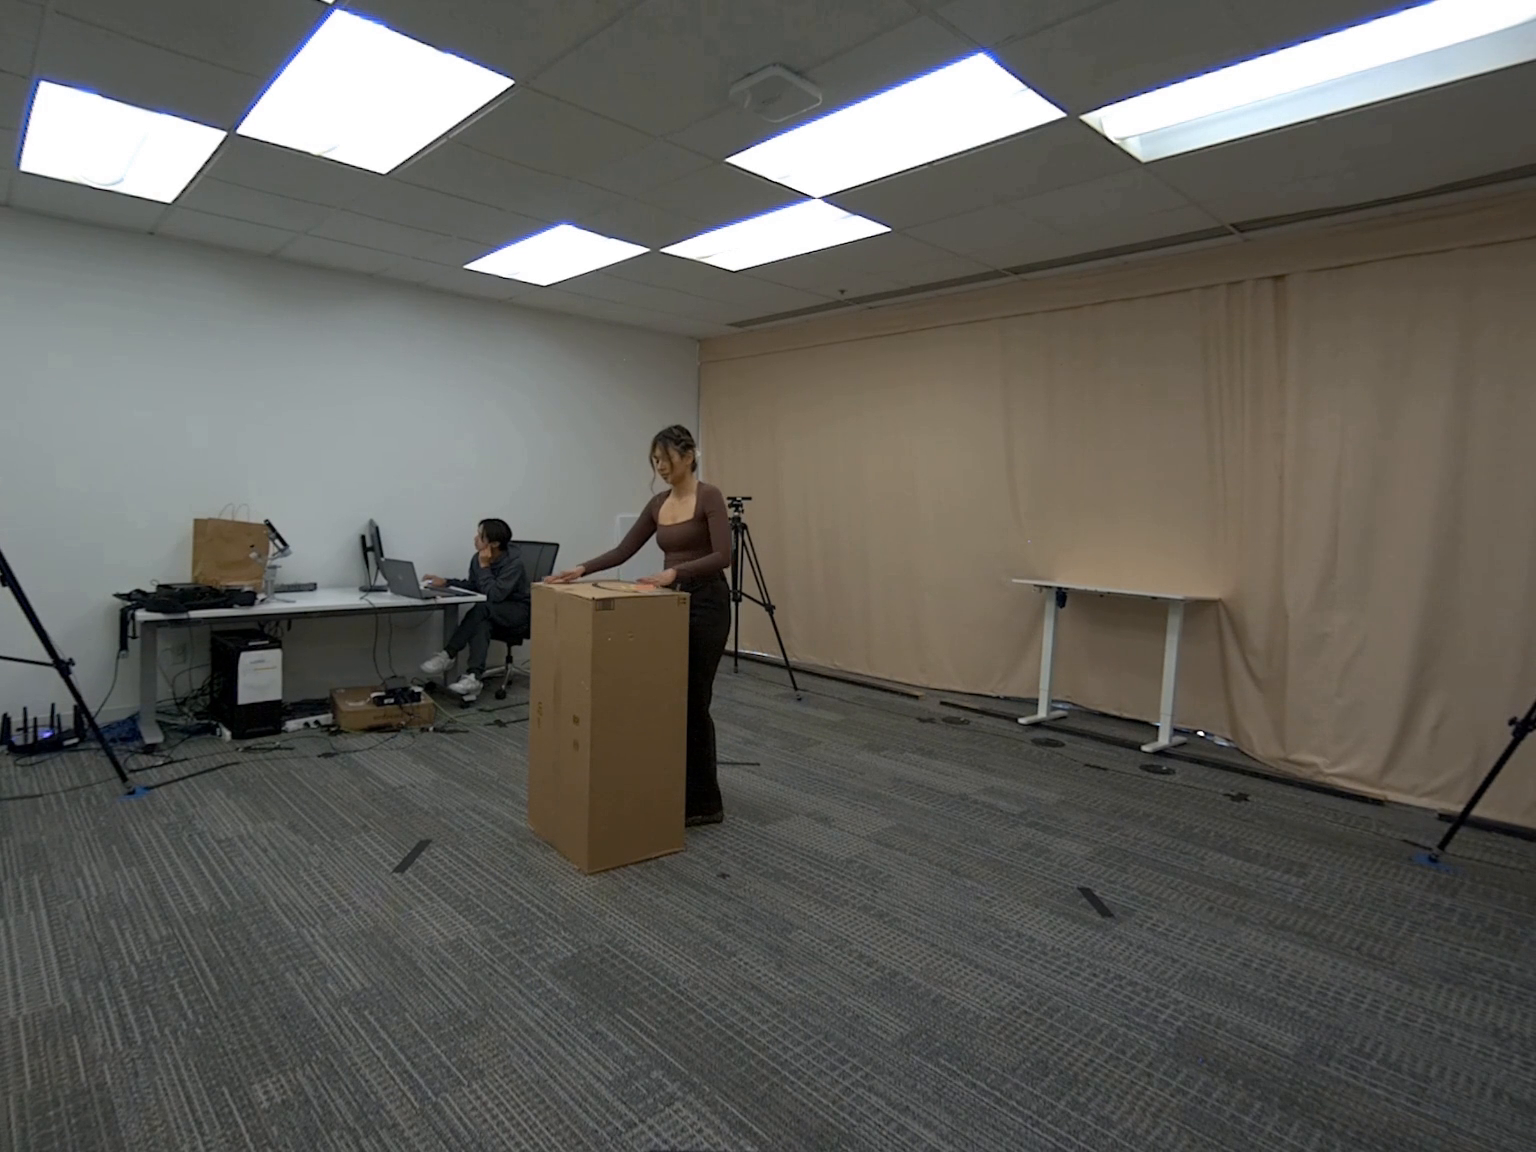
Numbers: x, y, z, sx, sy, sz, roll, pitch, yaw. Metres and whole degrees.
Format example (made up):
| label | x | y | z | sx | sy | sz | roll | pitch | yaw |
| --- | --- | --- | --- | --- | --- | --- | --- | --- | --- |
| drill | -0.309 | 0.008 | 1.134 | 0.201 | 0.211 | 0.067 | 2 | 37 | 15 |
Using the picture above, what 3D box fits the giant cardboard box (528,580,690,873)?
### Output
| label | x | y | z | sx | sy | sz | roll | pitch | yaw |
| --- | --- | --- | --- | --- | --- | --- | --- | --- | --- |
| giant cardboard box | -0.664 | 0.554 | 3.400 | 0.437 | 1.025 | 0.598 | 0 | 3 | -36 |
